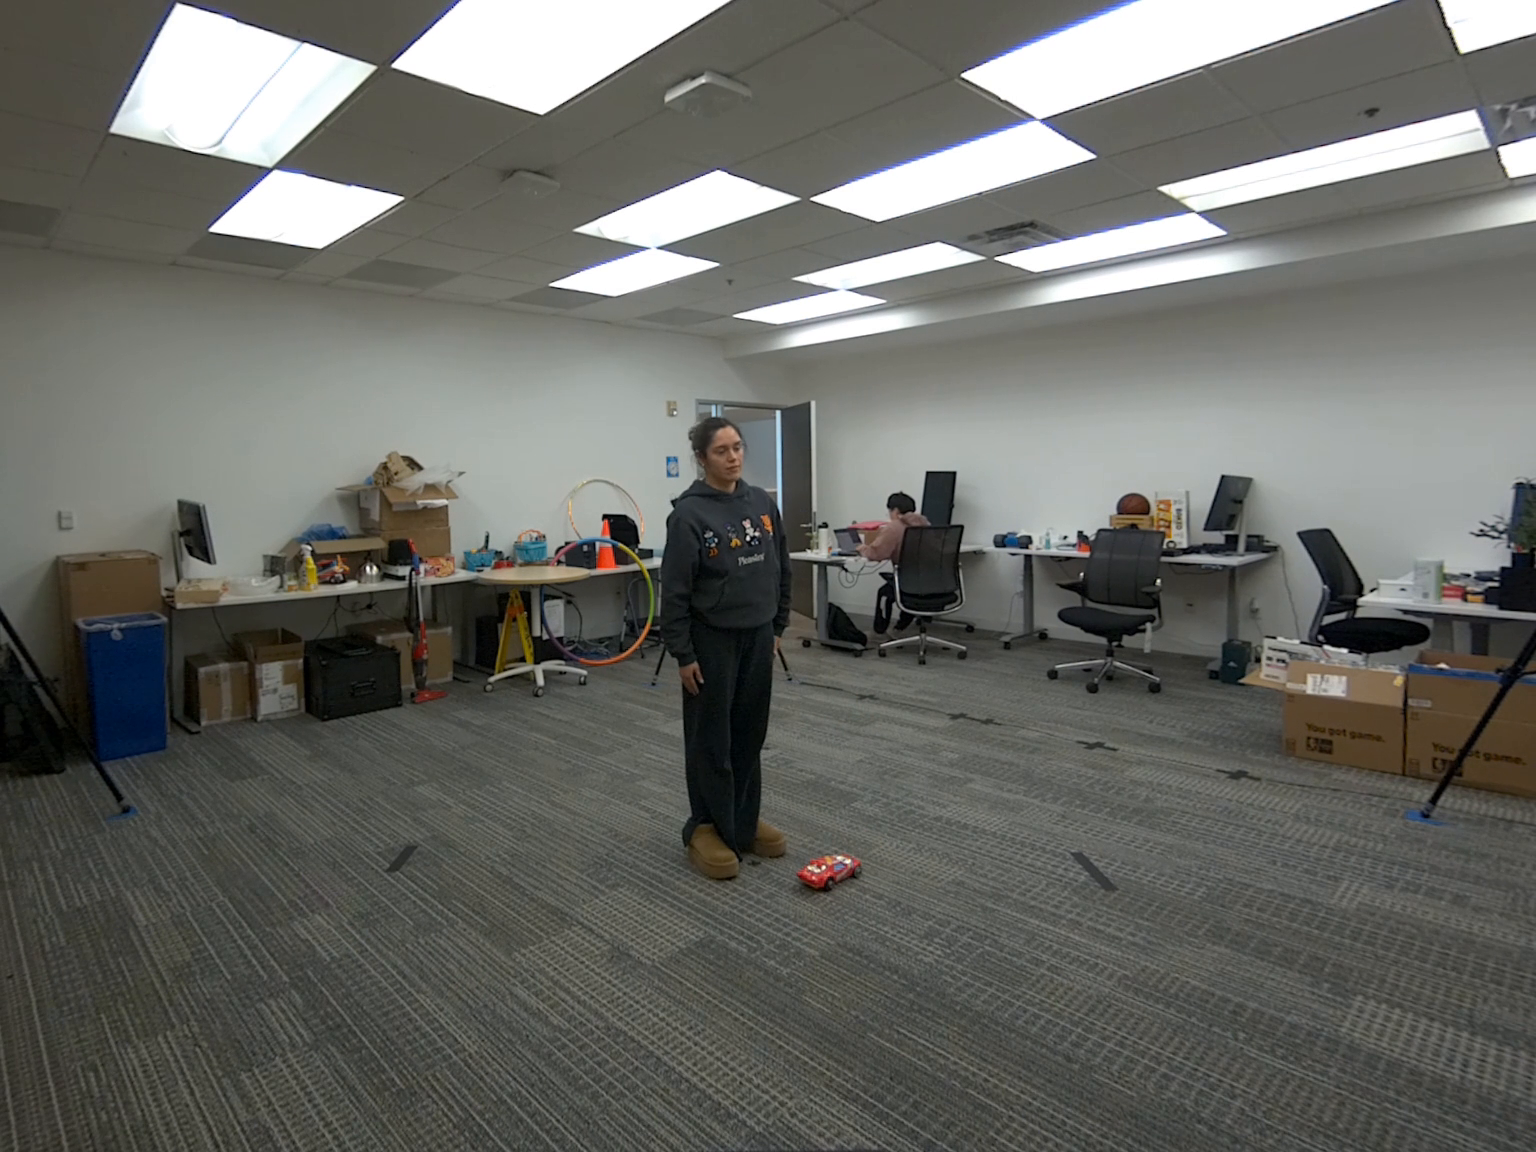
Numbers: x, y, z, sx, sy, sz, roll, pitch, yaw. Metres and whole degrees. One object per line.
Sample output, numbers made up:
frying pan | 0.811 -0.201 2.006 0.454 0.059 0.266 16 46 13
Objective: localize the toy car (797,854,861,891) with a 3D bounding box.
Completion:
toy car | 0.211 1.024 2.945 0.246 0.083 0.134 9 -3 -41
